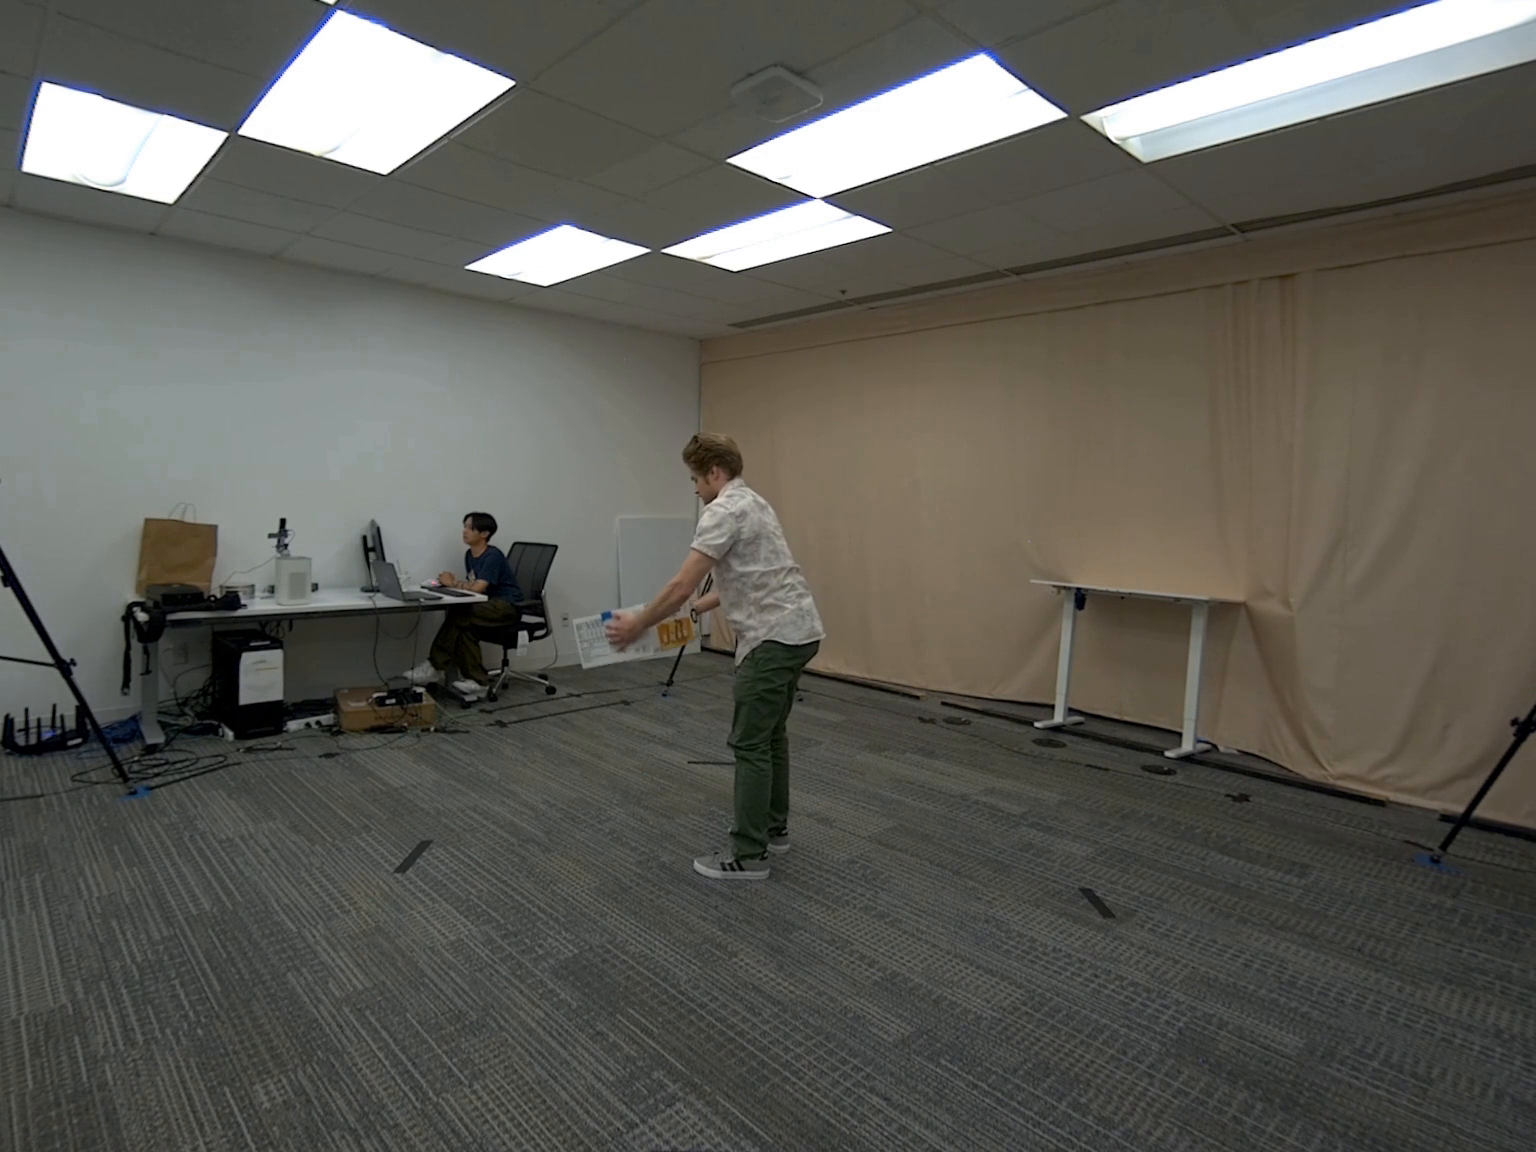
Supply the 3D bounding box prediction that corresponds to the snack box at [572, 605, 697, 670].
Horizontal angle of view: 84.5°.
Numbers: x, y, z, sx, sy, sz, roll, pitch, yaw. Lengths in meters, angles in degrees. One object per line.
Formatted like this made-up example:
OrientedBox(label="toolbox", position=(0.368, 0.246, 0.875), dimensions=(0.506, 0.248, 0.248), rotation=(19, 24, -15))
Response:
OrientedBox(label="snack box", position=(-0.533, 0.225, 3.445), dimensions=(0.345, 0.206, 0.399), rotation=(-12, 0, 23))
